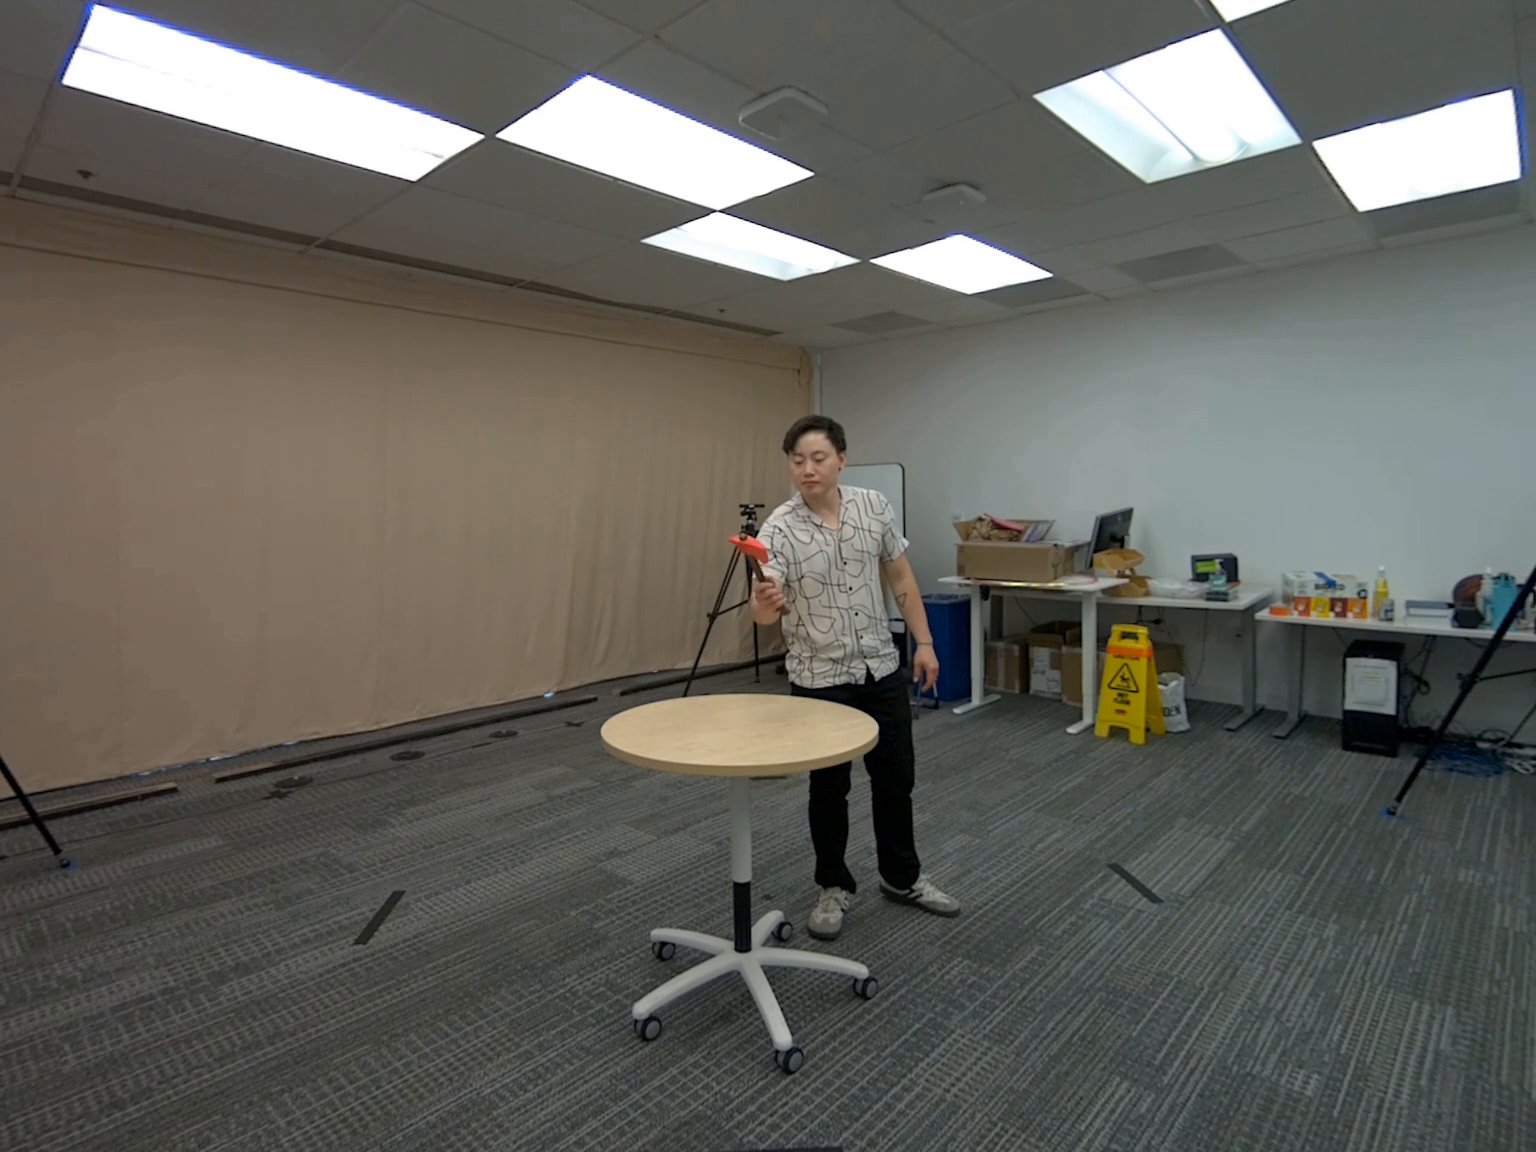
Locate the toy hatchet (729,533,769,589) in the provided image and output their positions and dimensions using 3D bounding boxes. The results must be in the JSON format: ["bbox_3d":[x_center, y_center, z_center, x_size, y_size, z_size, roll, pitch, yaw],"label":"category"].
[{"bbox_3d":[0.003,-0.001,2.190,0.029,0.264,0.134,-47,21,-27],"label":"toy hatchet"}]
